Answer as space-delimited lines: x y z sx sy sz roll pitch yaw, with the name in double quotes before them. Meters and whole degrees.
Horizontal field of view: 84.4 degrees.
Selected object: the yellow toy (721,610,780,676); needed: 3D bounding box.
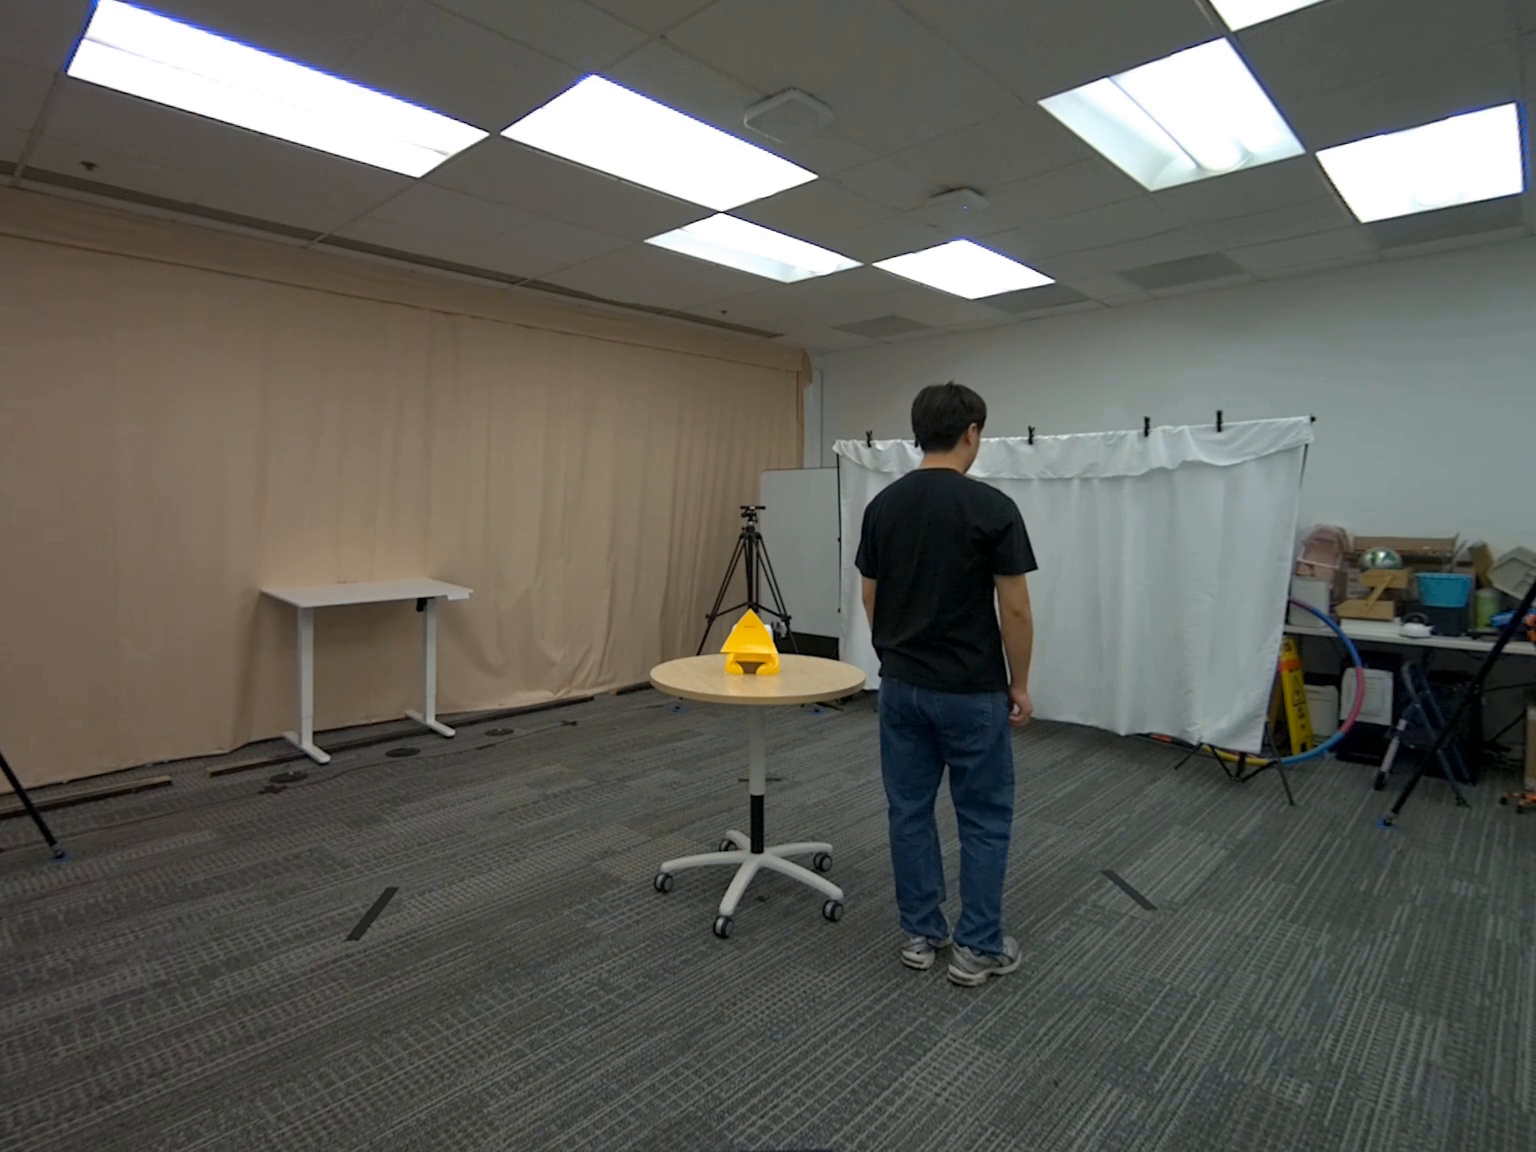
"yellow toy" -0.052 0.228 3.042 0.207 0.230 0.191 1 4 8
